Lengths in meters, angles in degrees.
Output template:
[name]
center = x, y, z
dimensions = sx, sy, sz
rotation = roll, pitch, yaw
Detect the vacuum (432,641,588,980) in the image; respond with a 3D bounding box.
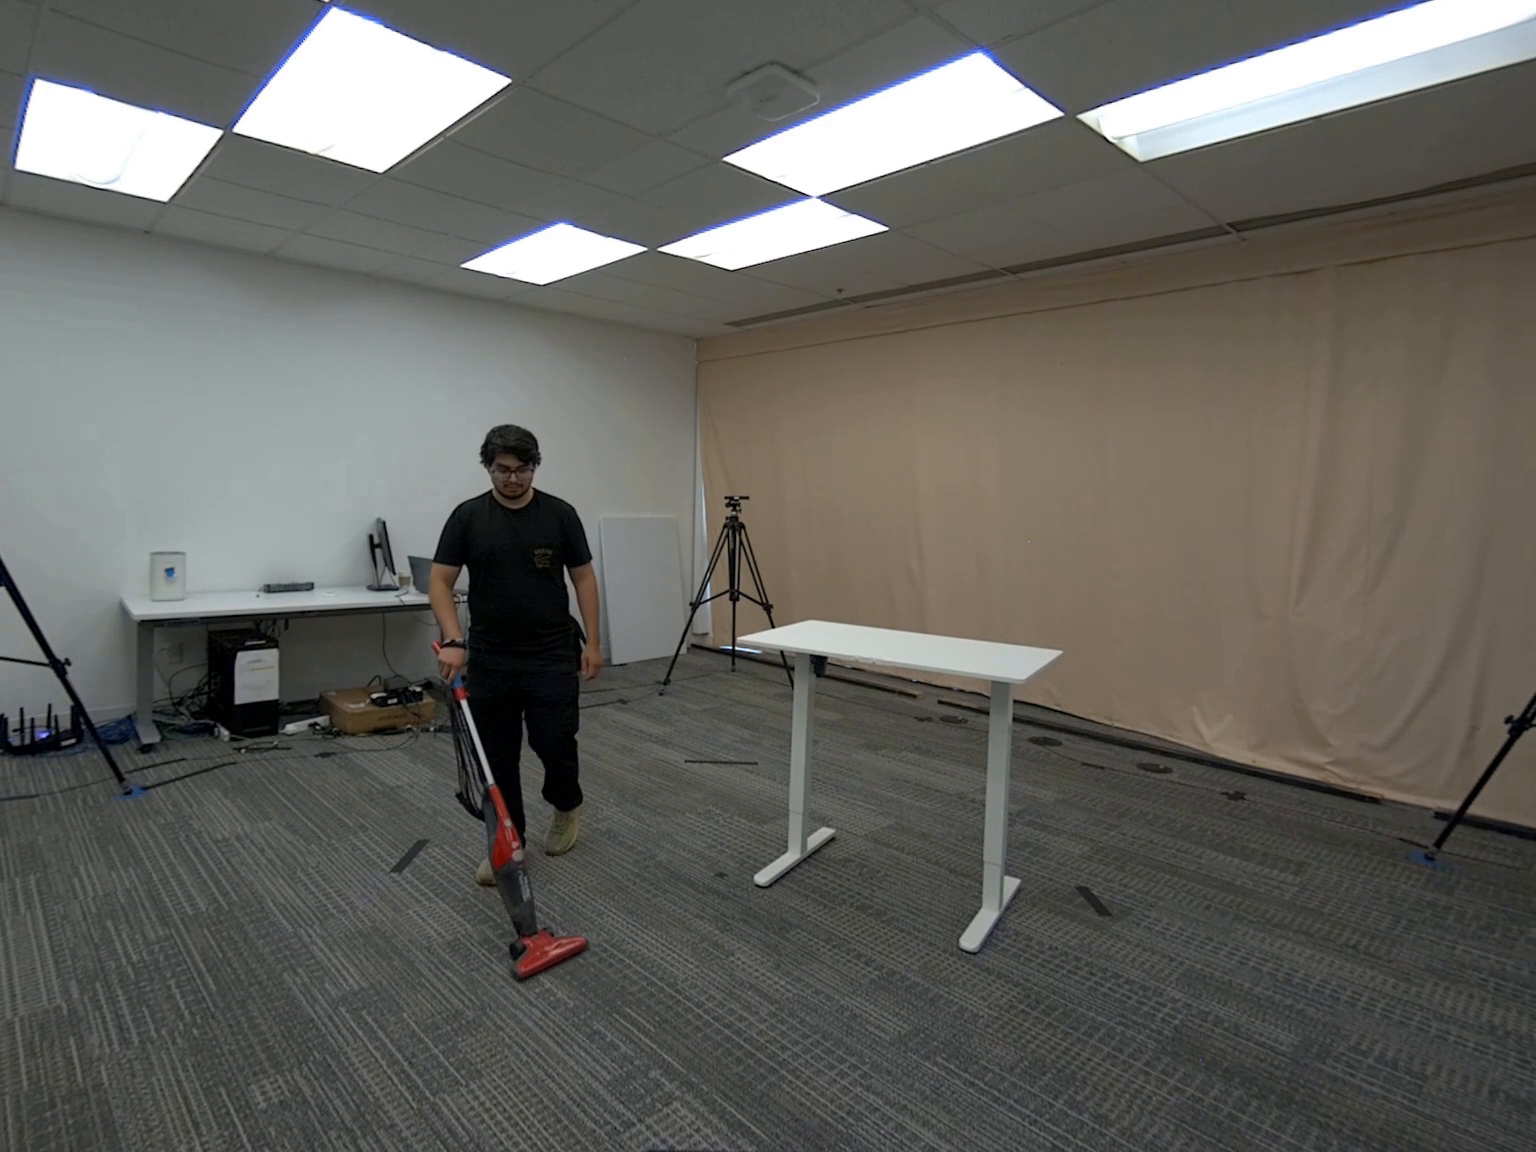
[vacuum]
center = -0.904, 0.692, 2.684
dimensions = 0.247, 1.068, 0.144
rotation = -5, -28, -48
